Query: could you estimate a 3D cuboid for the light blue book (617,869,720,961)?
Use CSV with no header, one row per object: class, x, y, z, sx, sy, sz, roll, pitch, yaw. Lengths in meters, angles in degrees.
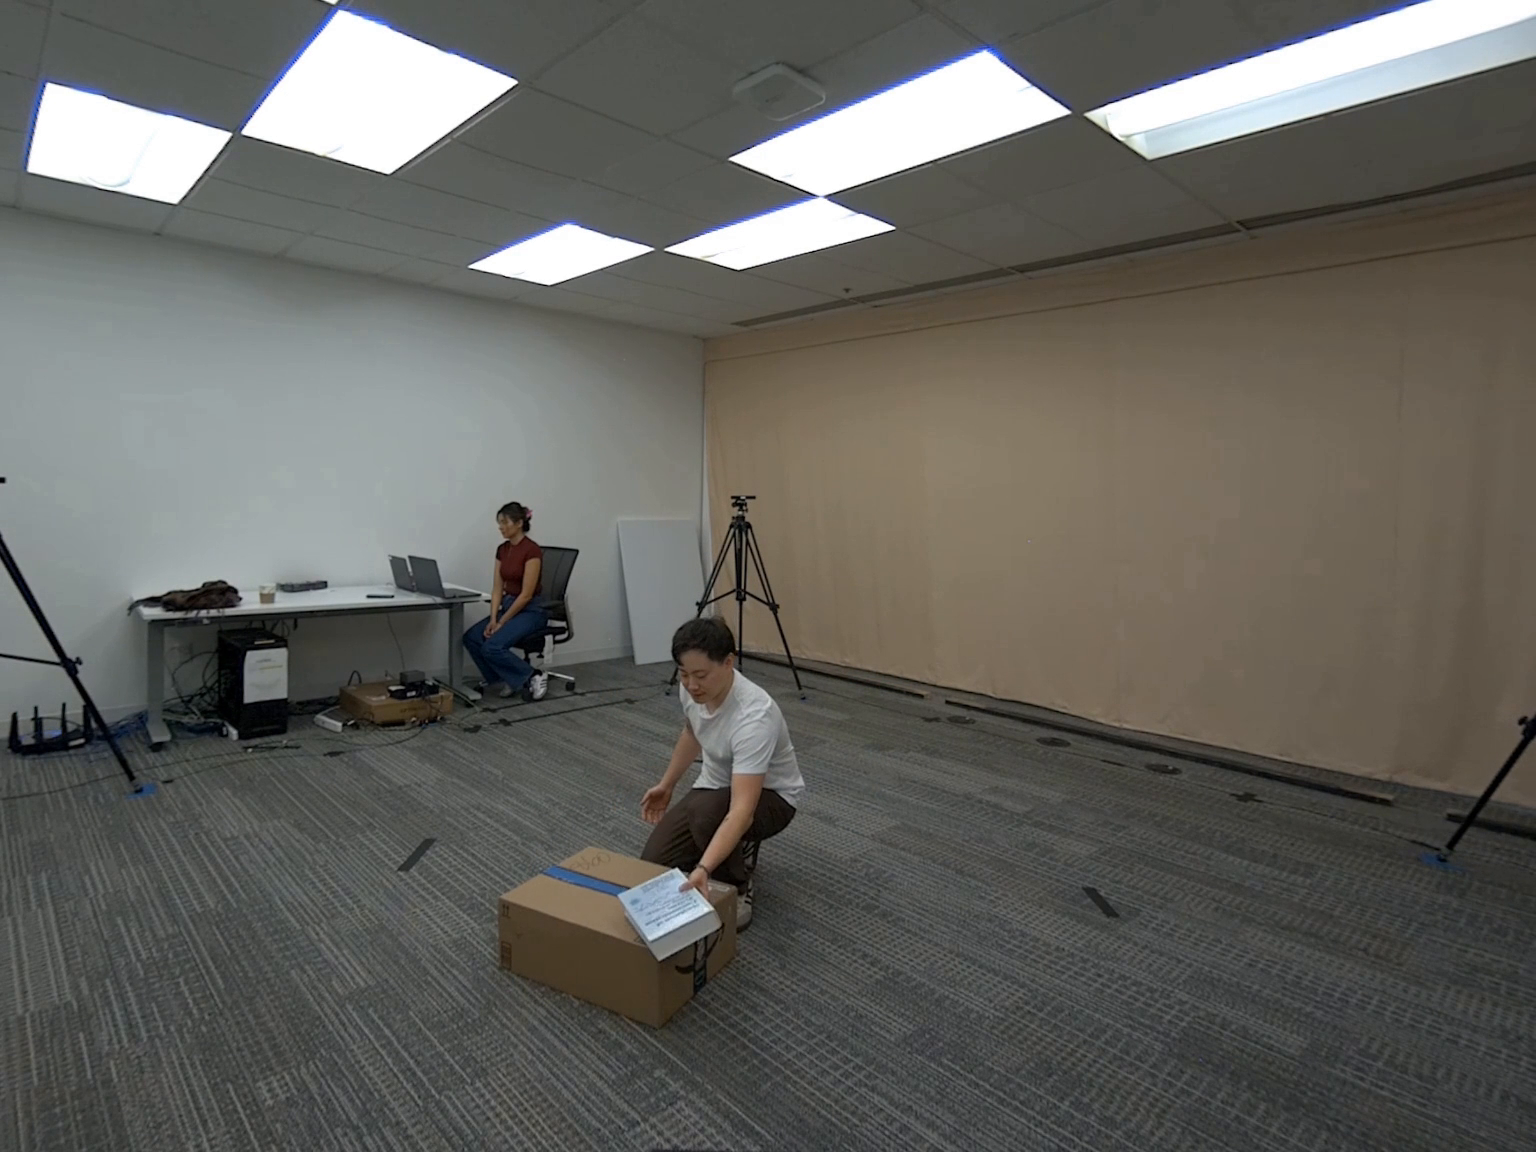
light blue book,-0.294,0.903,2.272,0.189,0.058,0.266,-18,13,-23
